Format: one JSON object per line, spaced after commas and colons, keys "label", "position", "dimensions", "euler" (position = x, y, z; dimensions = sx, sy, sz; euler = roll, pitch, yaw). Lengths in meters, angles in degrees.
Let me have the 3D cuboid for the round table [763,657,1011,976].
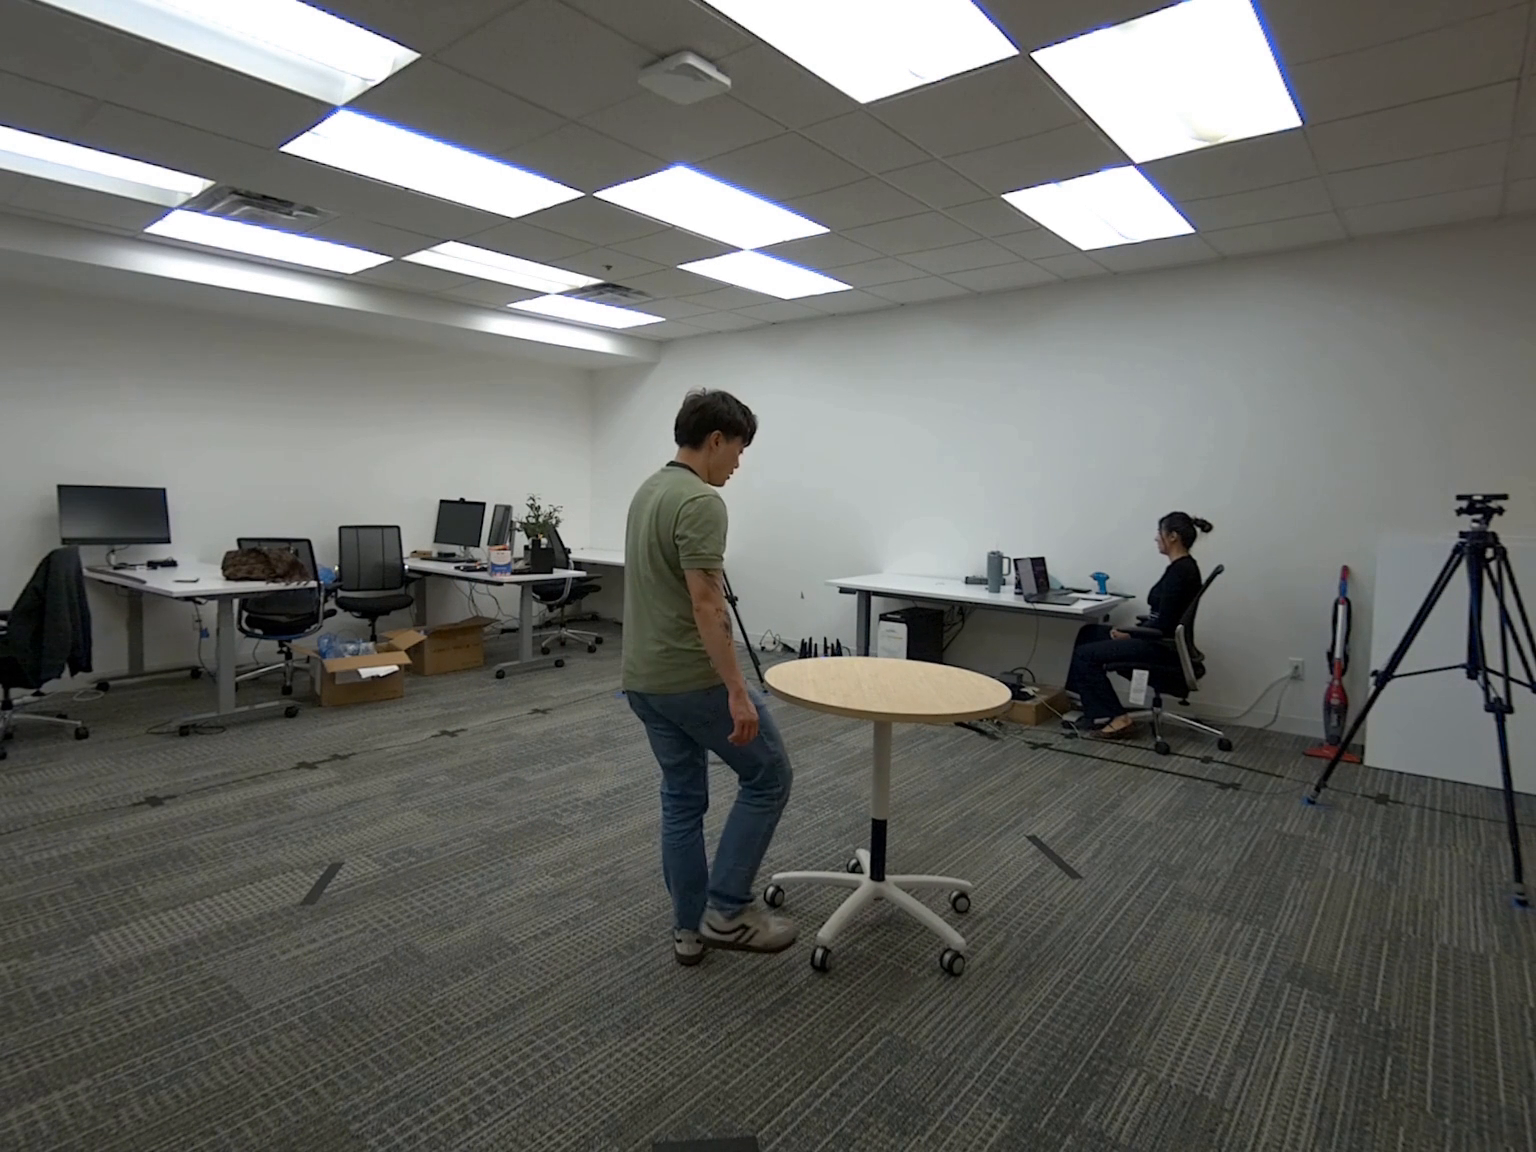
{"label": "round table", "position": [0.345, 0.723, 2.730], "dimensions": [0.763, 0.791, 0.768], "euler": [2, 4, -2]}
